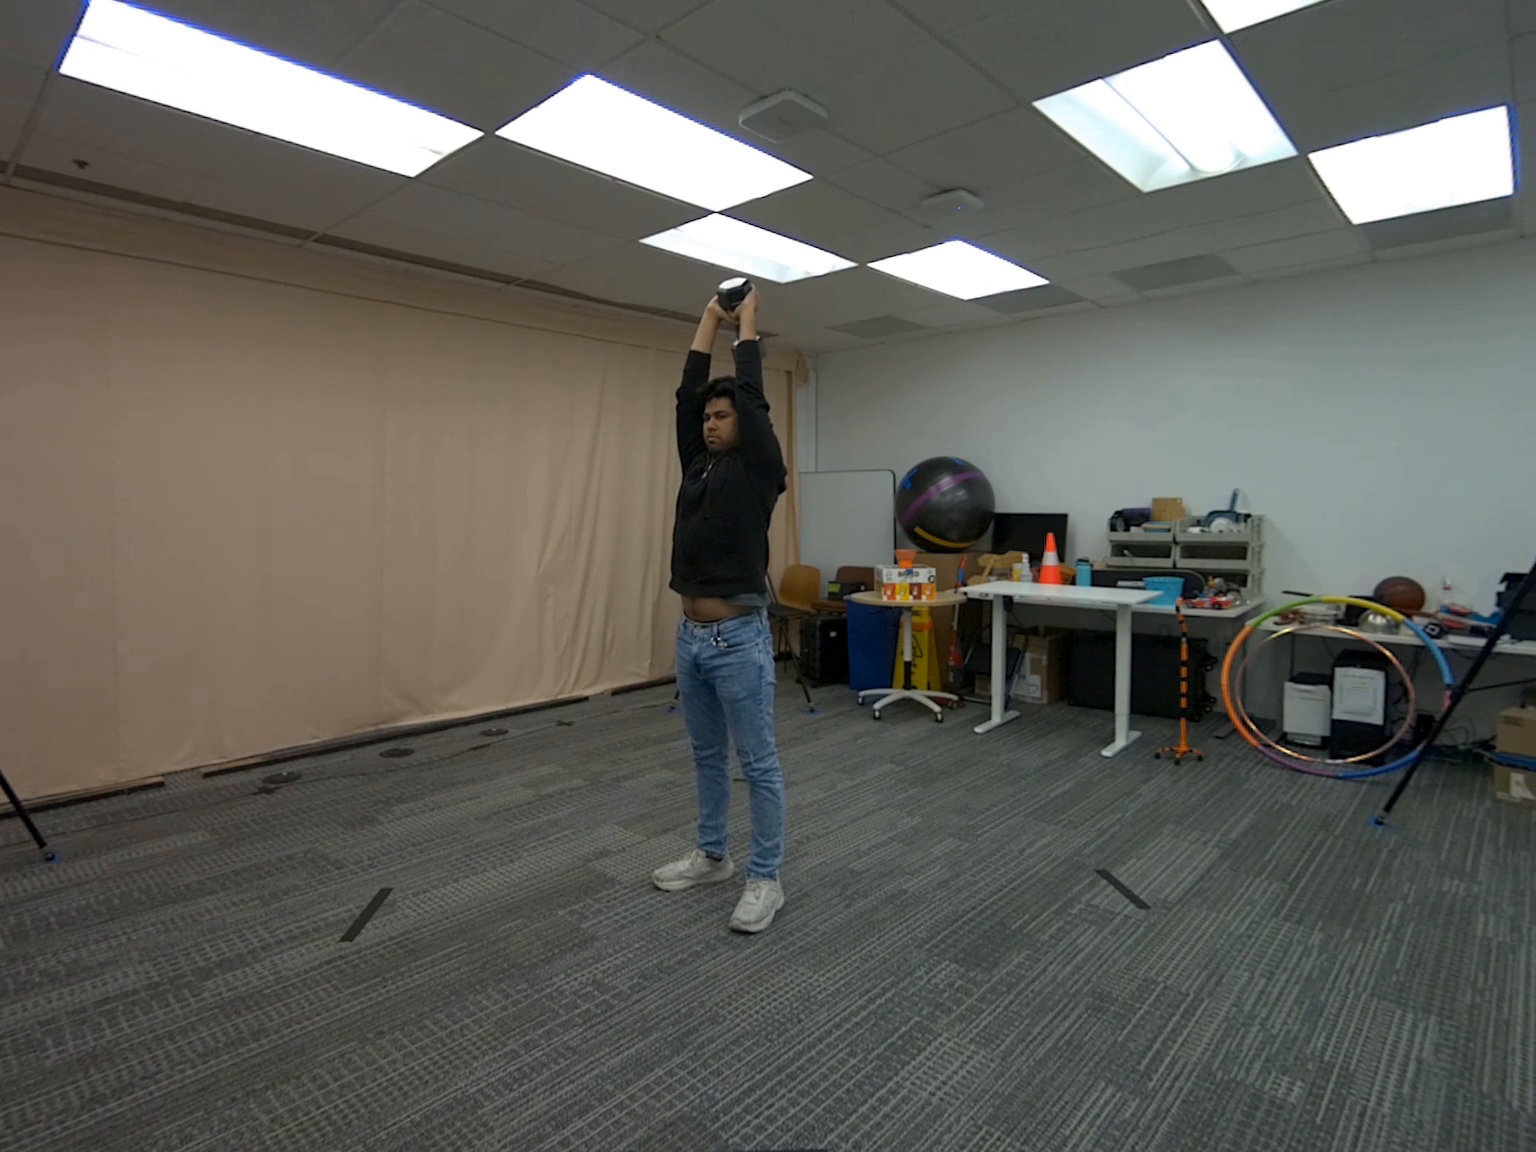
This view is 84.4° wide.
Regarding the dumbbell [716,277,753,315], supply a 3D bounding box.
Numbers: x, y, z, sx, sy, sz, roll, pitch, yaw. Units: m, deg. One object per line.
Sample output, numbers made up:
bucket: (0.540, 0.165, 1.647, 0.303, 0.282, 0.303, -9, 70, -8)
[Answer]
dumbbell: (-0.084, -0.883, 2.974, 0.107, 0.286, 0.127, -30, 38, -22)
